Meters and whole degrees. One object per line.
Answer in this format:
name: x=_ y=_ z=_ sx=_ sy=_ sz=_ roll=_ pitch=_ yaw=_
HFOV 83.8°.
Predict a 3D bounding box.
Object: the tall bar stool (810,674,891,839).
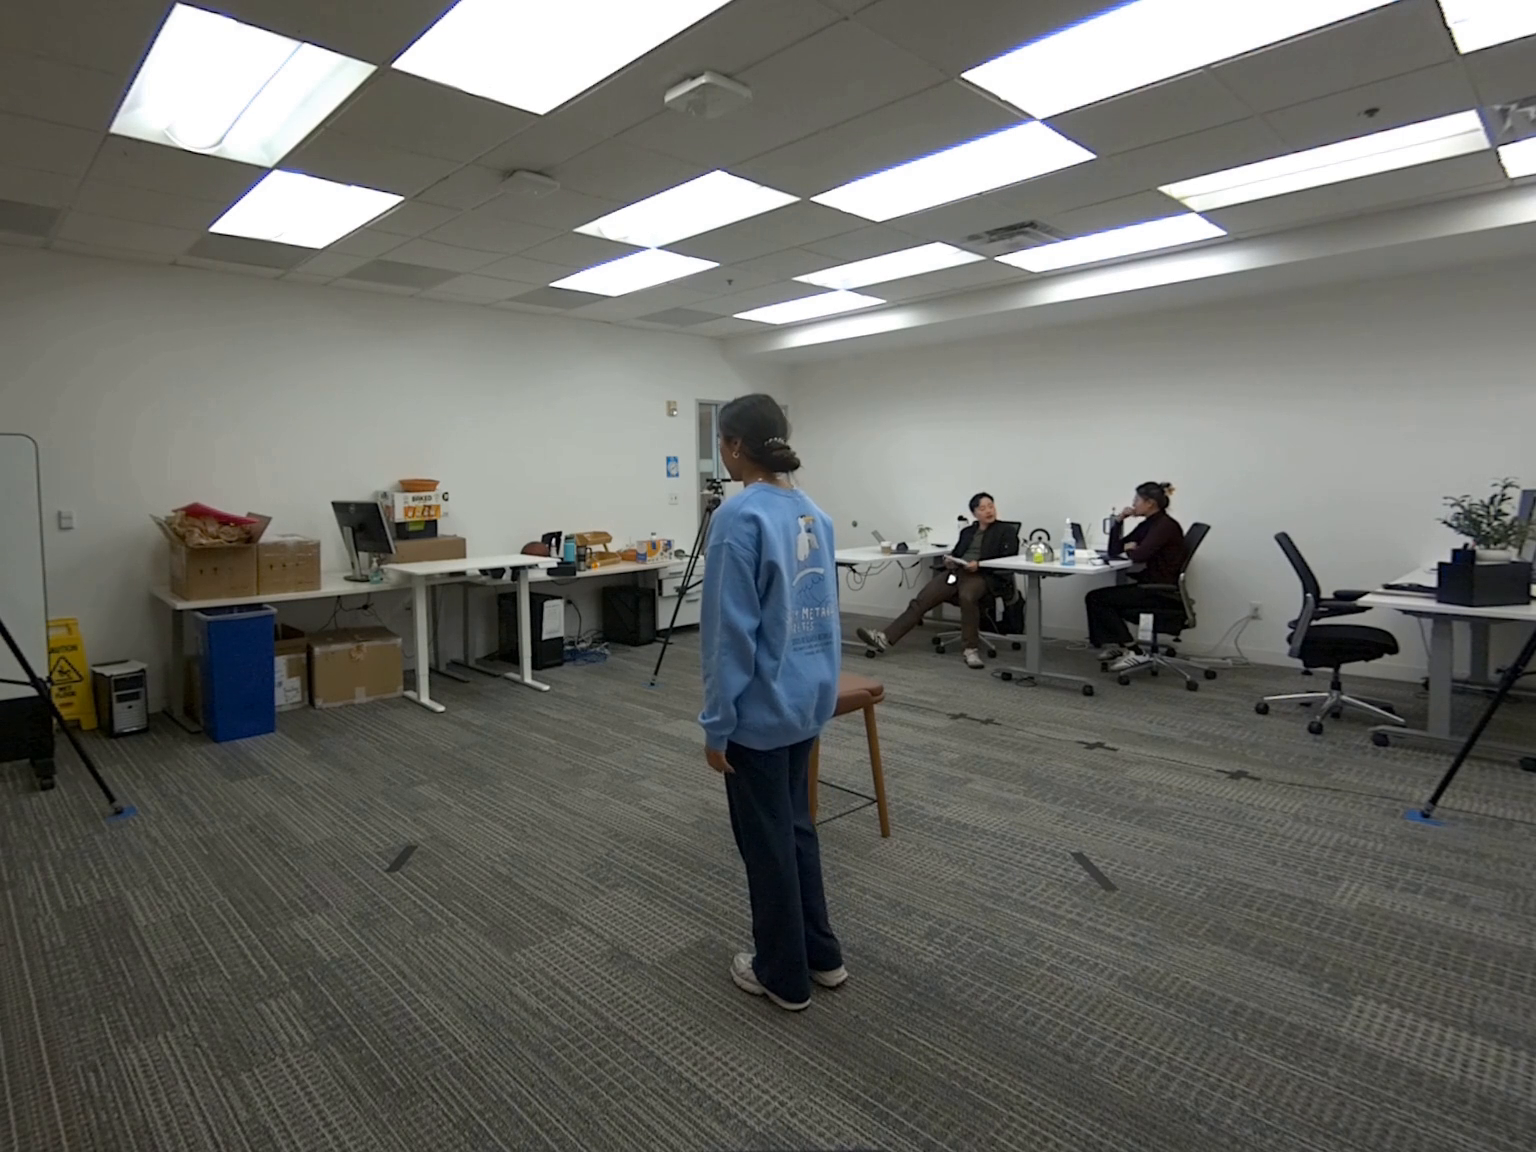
tall bar stool: x=0.169 y=0.586 z=3.293 sx=0.456 sy=0.885 sz=0.470 roll=-7 pitch=7 yaw=-42
